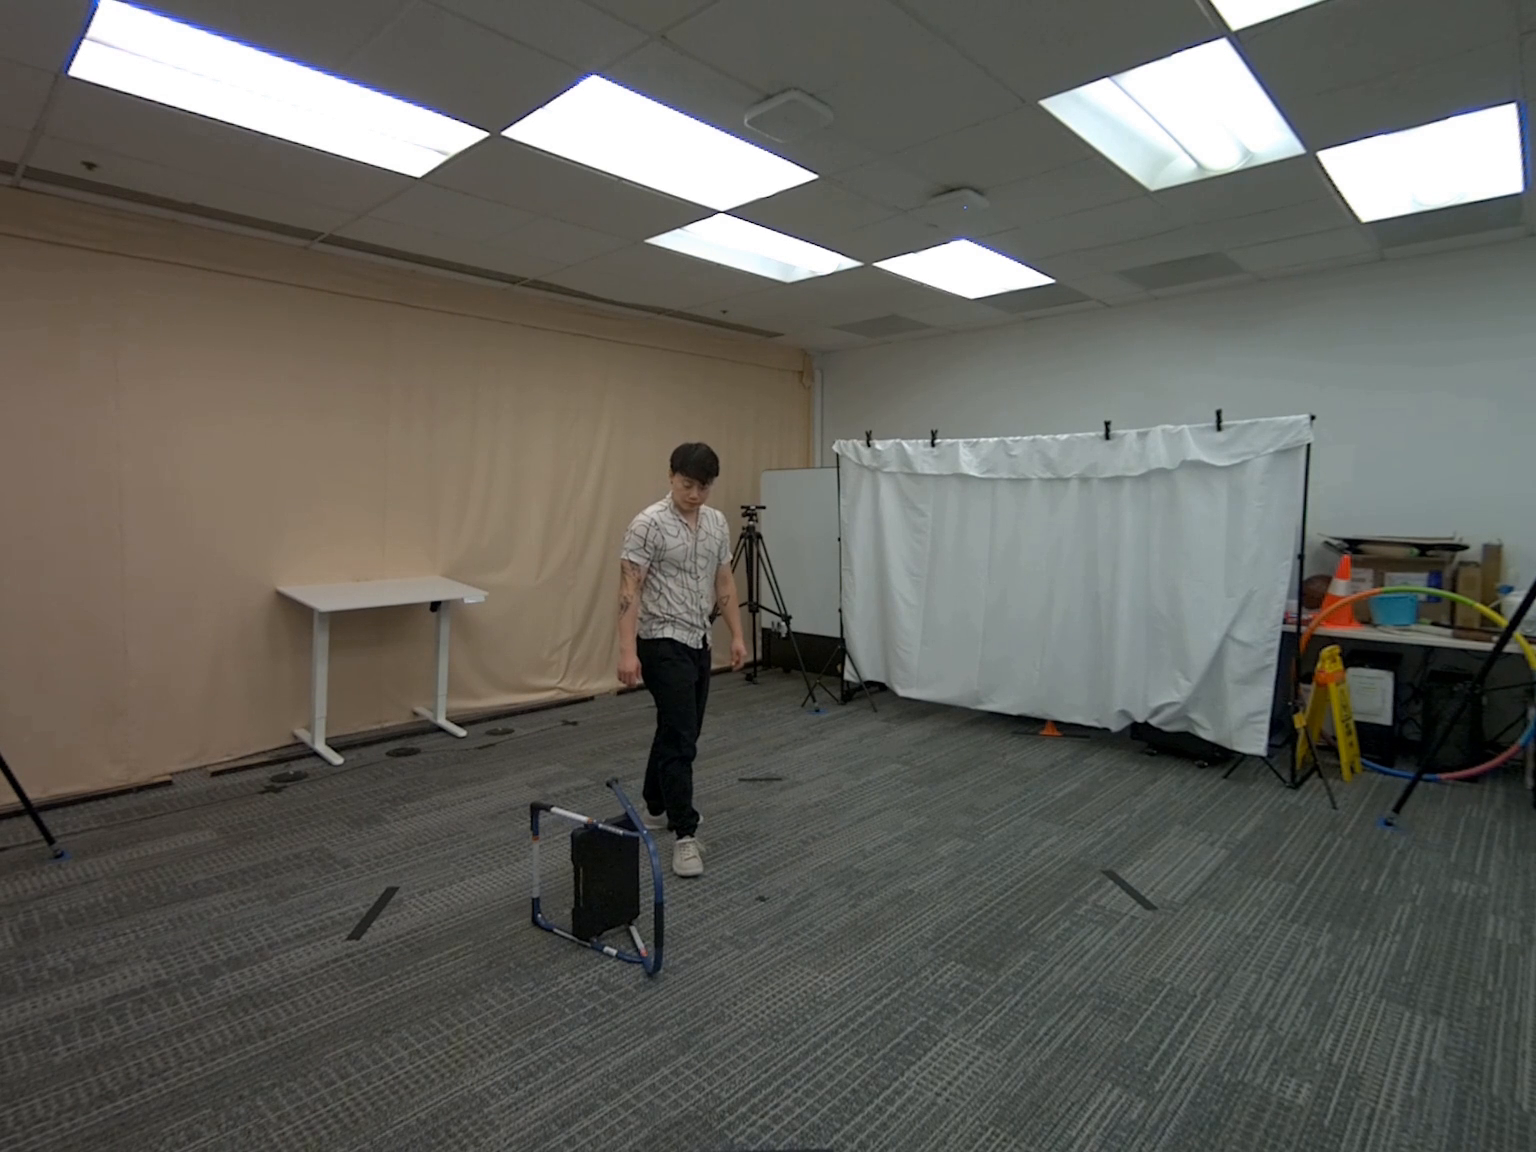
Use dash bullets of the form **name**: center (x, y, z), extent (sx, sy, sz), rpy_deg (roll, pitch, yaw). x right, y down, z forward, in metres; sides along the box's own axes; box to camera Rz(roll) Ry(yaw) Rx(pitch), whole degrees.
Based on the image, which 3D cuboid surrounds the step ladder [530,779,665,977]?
- **step ladder**: center (-0.456, 0.957, 2.678), extent (0.339, 0.429, 0.626), rpy_deg (-5, 6, -42)
